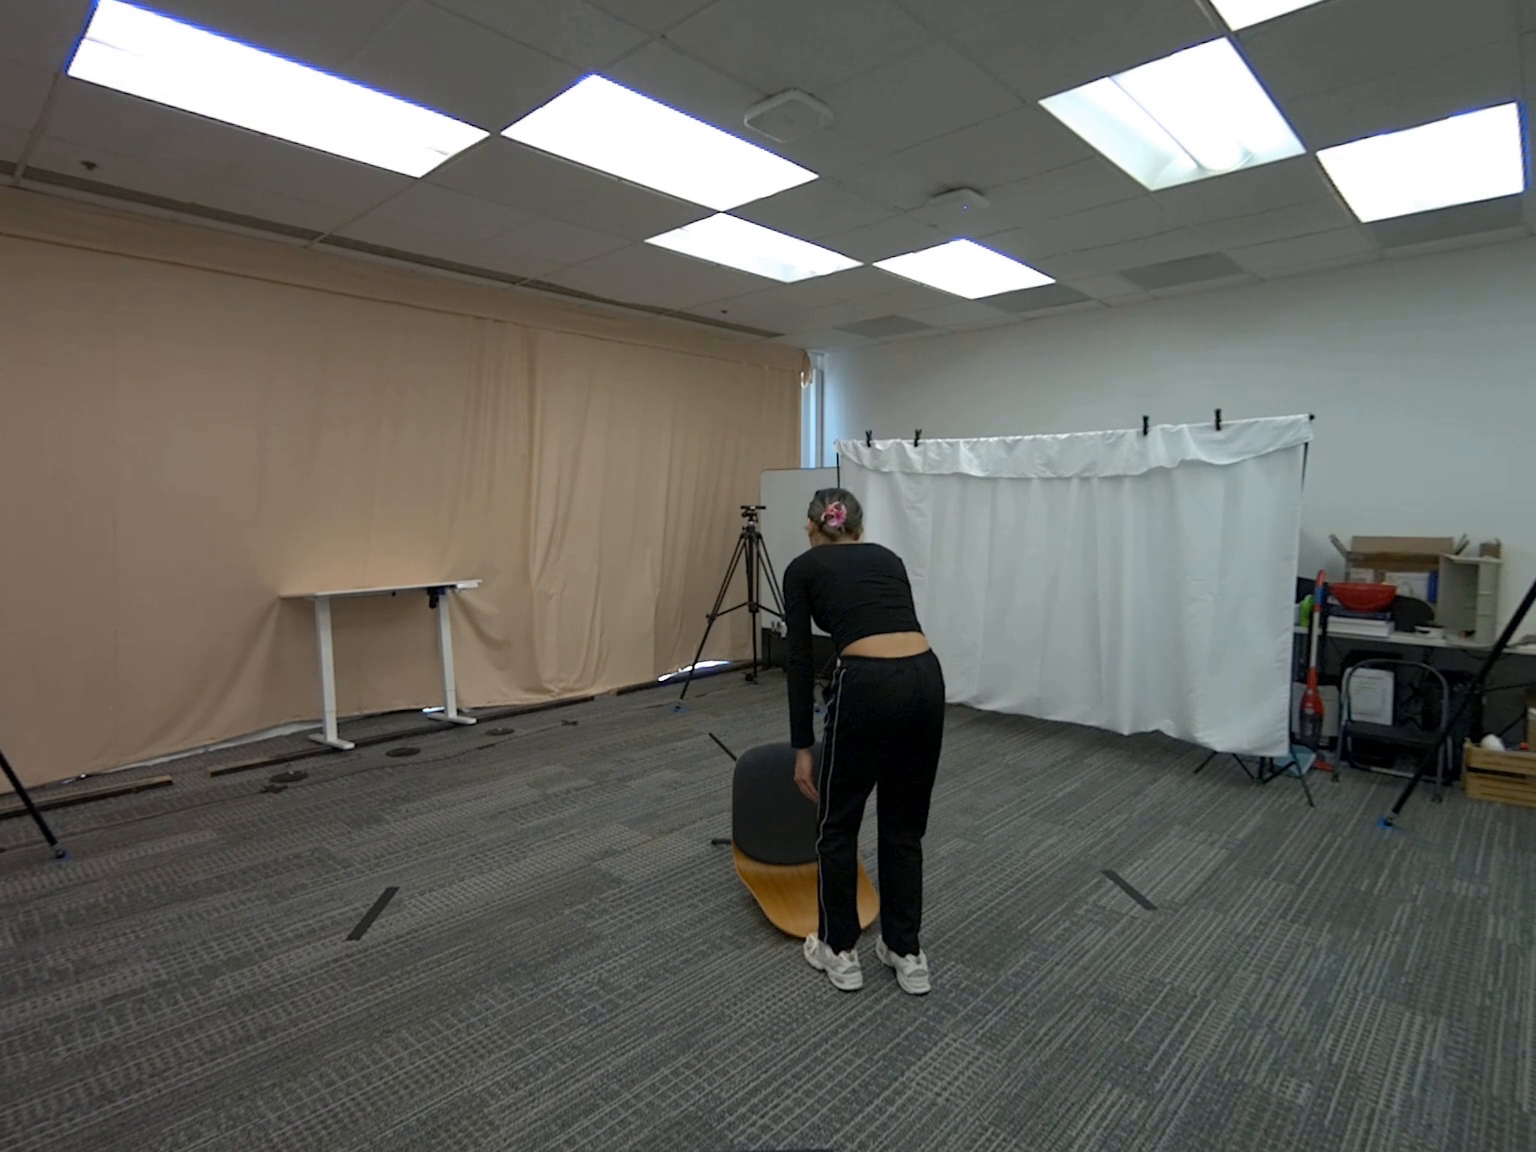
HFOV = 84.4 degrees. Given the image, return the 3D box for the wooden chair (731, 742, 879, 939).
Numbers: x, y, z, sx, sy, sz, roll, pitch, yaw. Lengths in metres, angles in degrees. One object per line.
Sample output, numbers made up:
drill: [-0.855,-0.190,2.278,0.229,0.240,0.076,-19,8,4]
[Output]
wooden chair: [0.091,0.872,3.109,0.472,0.522,0.892,-1,5,-14]
